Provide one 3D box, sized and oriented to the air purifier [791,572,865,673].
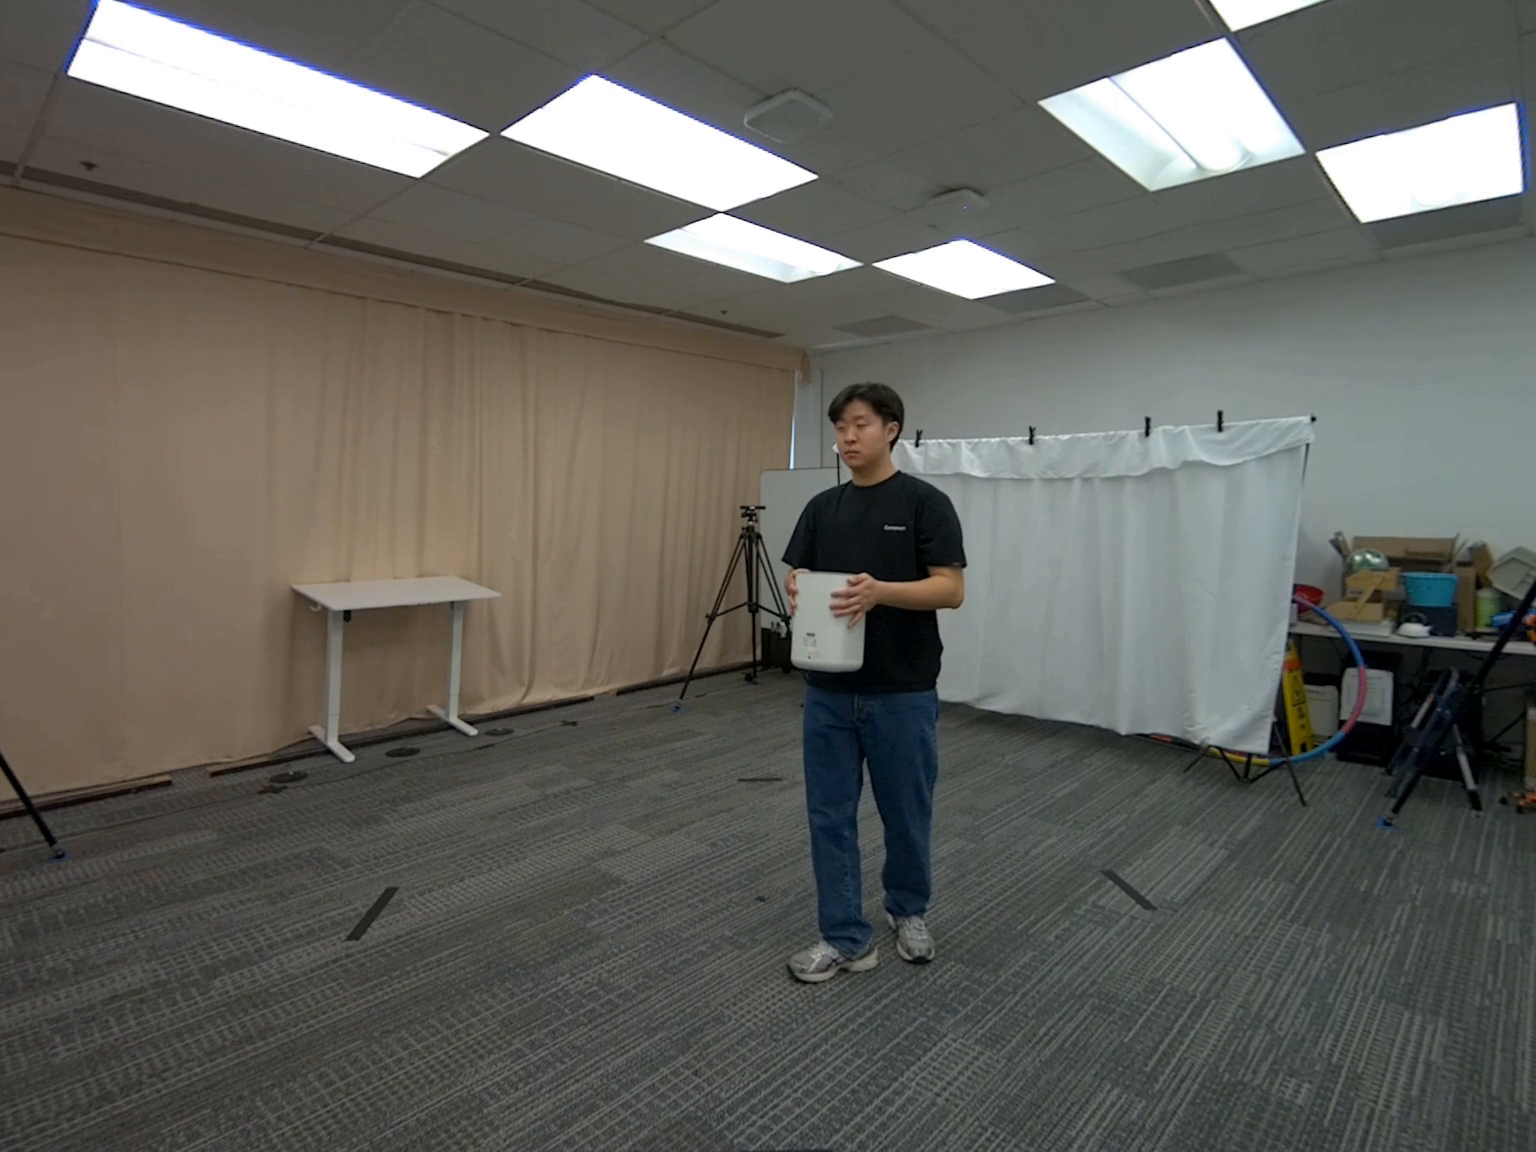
[{"bbox_3d":[0.175,0.127,2.334,0.176,0.266,0.166,3,-4,37],"label":"air purifier"}]
